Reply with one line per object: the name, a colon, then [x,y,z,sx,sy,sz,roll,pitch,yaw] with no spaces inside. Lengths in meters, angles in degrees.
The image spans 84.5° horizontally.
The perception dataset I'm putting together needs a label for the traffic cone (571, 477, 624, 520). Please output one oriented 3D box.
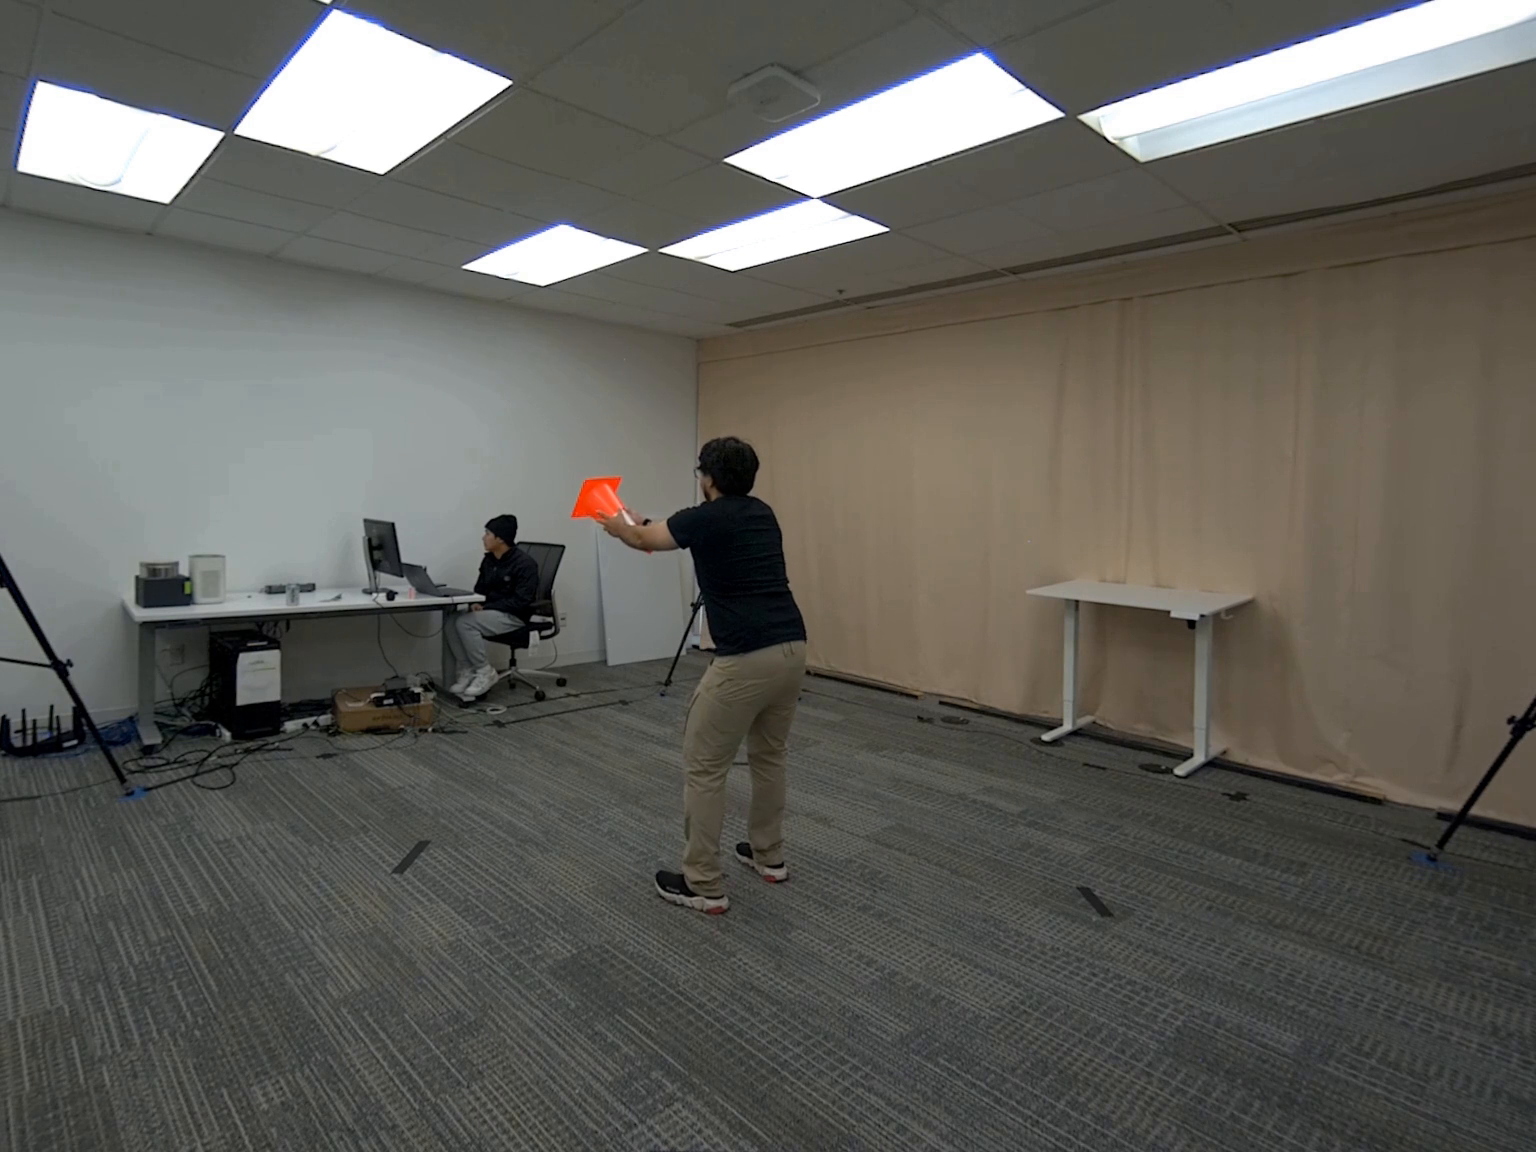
traffic cone: [-0.606,-0.199,3.425,0.201,0.202,0.394,-10,44,-48]
